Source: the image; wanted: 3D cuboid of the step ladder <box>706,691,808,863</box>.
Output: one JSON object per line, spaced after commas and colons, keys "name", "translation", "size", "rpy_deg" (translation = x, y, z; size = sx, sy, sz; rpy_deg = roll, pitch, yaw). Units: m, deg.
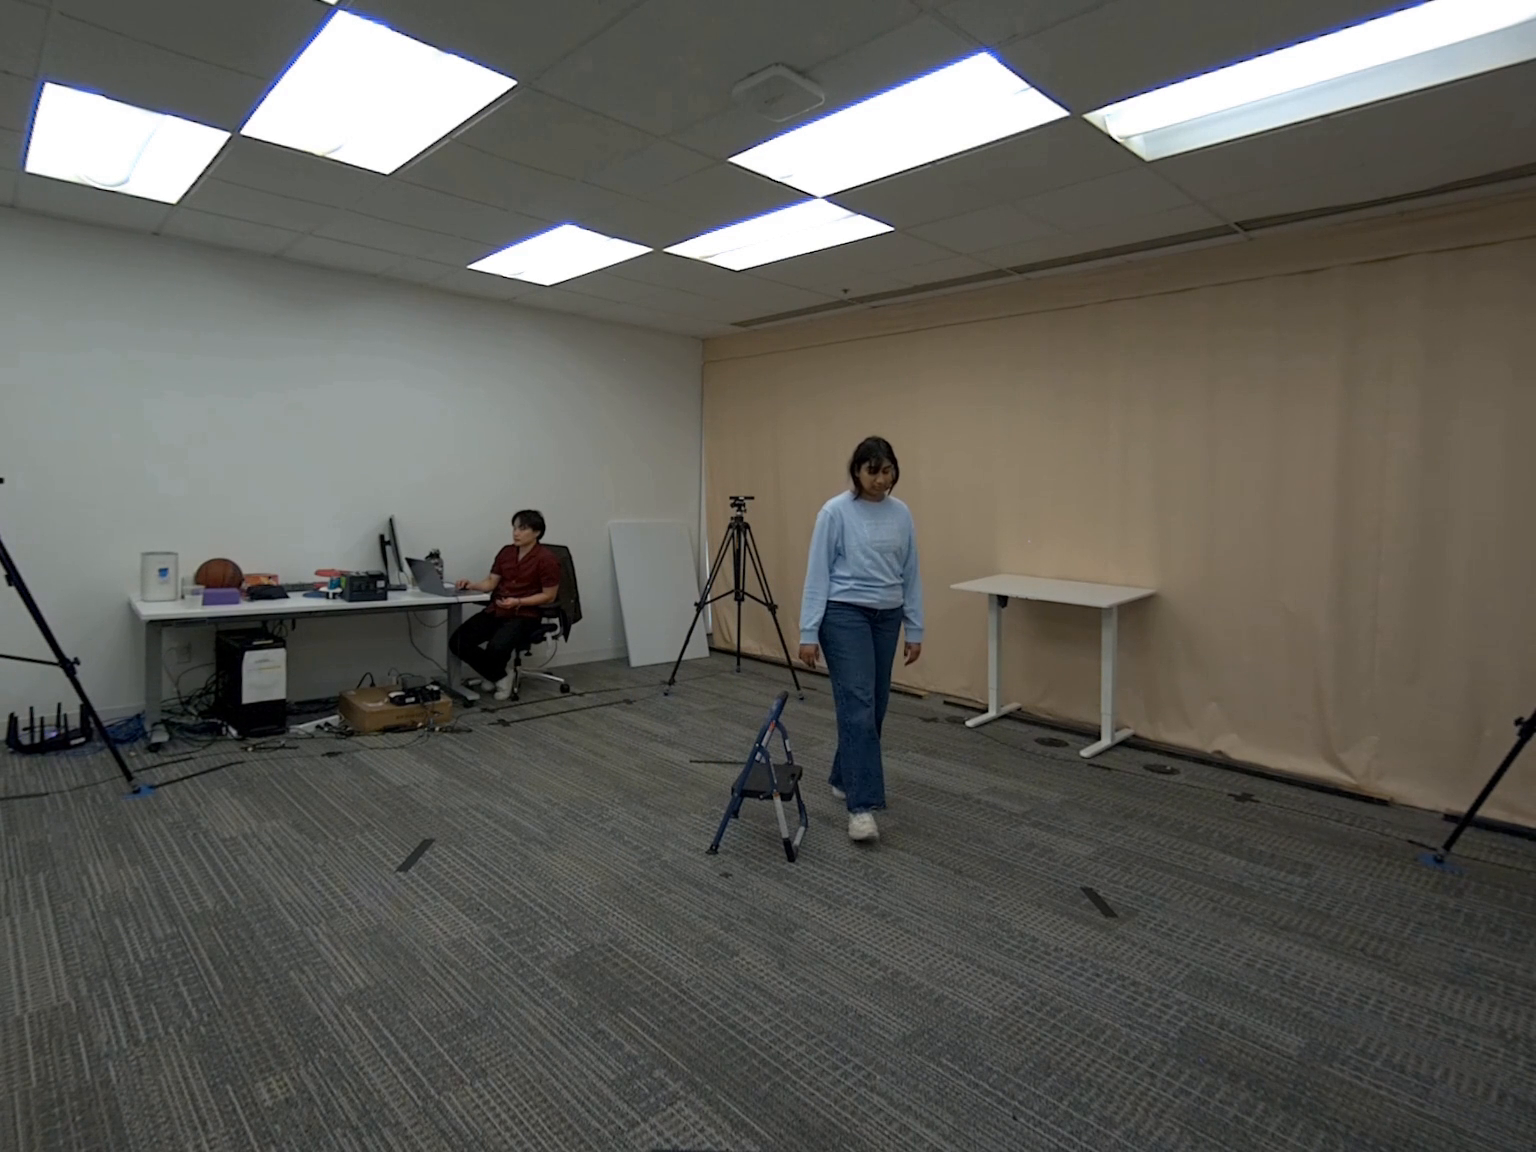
{"name": "step ladder", "translation": [-0.028, 0.775, 3.439], "size": [0.353, 0.605, 0.427], "rpy_deg": [2, 3, 11]}
